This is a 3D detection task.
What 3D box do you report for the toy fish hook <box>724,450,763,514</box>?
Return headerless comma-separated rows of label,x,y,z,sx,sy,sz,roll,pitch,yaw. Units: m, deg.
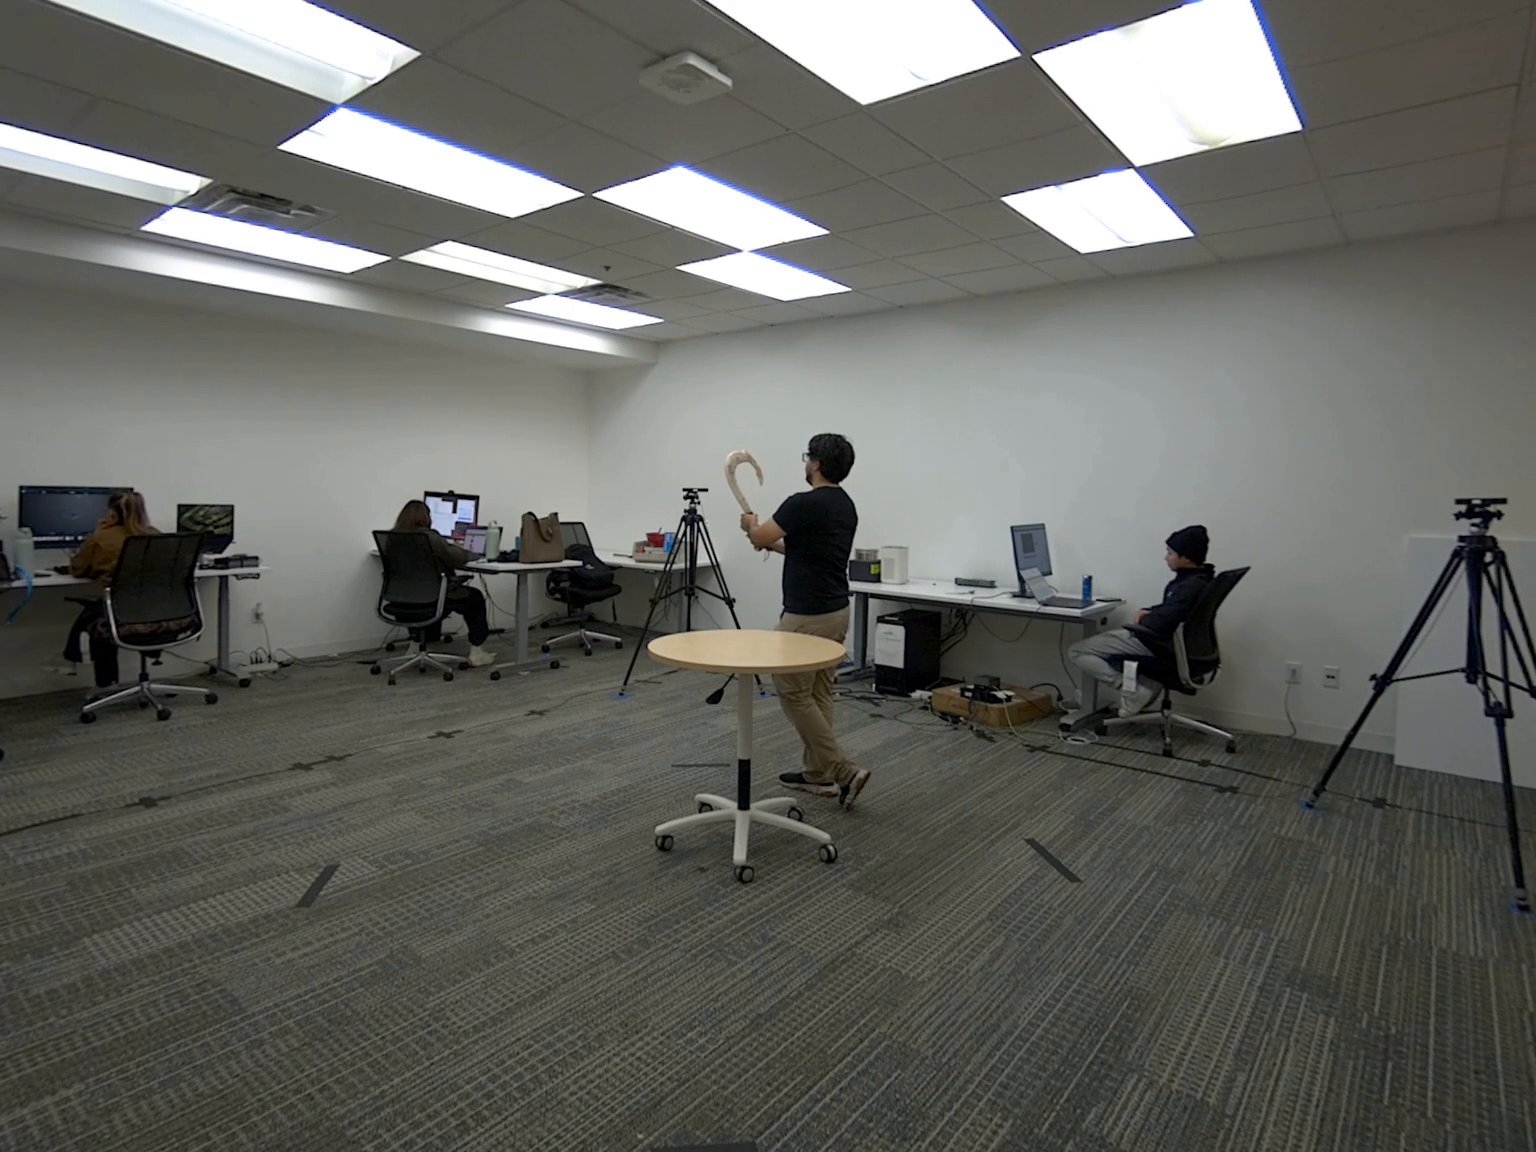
toy fish hook,-0.089,-0.384,4.237,0.220,0.507,0.049,-14,0,-34
